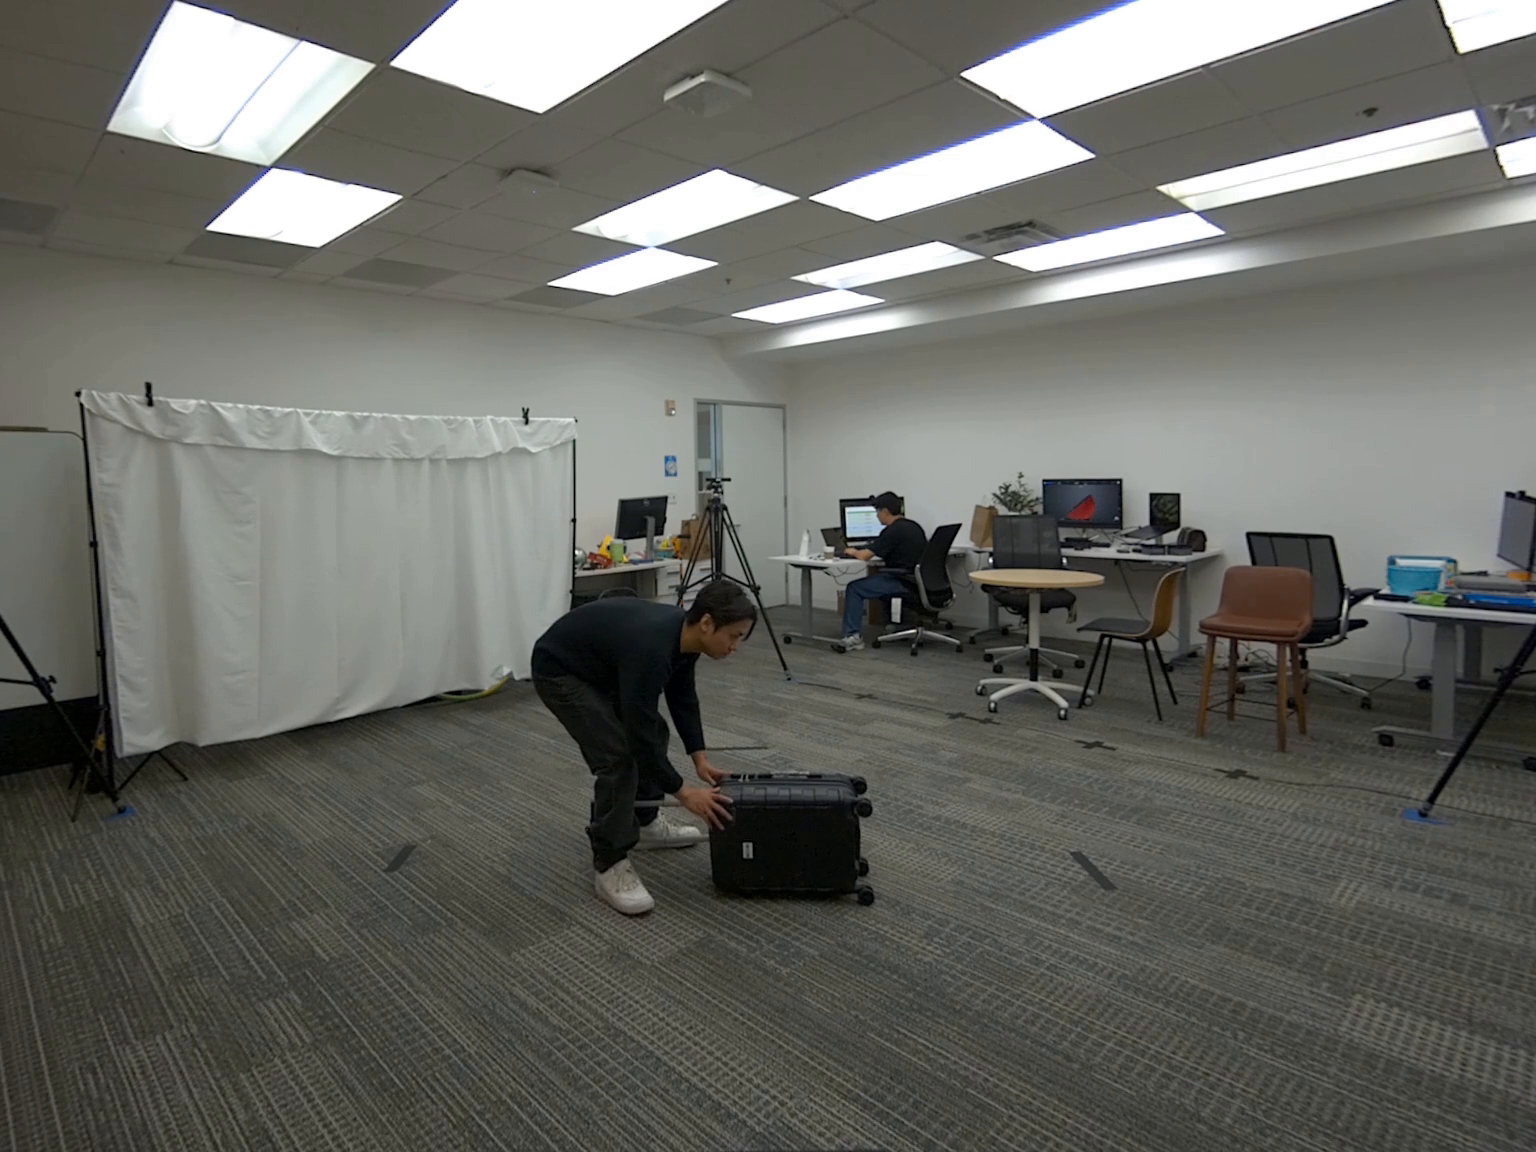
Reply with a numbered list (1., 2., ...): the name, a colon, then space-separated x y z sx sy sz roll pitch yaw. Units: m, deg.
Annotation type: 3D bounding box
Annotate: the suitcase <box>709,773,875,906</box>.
1. suitcase: -0.135 0.876 2.931 0.983 0.383 0.256 1 3 4
